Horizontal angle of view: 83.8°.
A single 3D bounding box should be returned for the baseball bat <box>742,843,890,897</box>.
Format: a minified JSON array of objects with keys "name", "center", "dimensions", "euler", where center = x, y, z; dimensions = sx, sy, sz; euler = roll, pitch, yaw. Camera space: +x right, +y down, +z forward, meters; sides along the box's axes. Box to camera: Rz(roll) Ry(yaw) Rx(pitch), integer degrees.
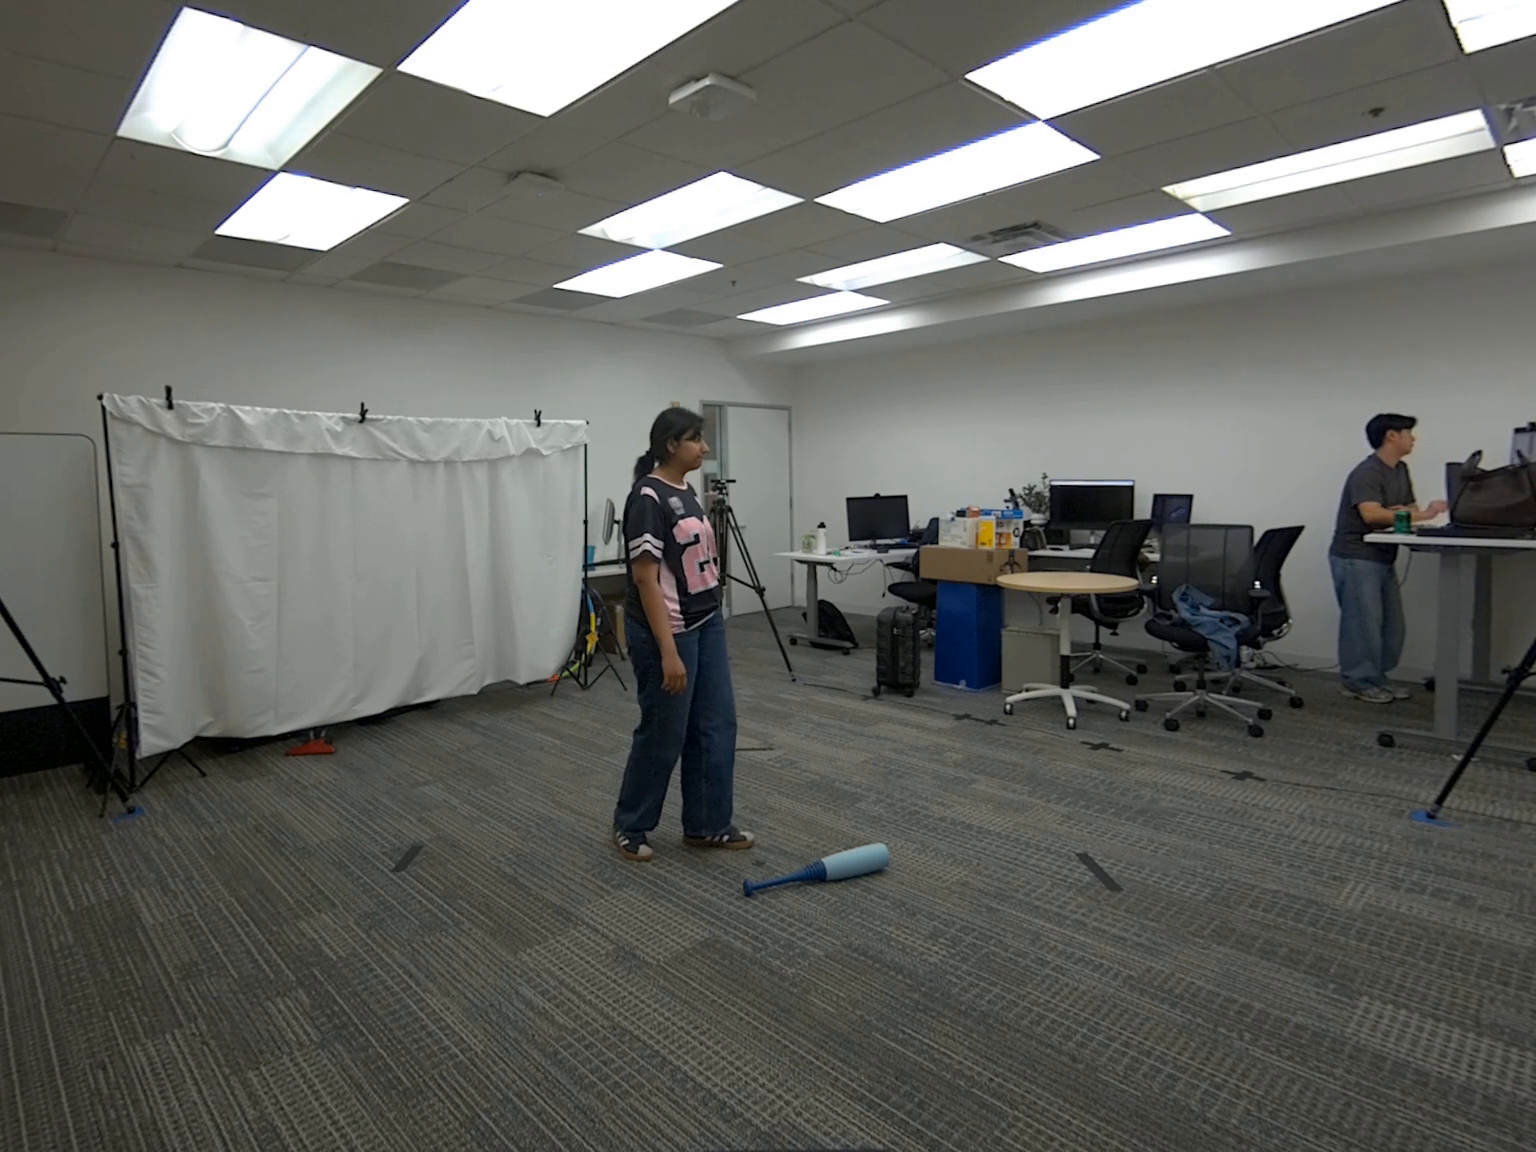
[{"name":"baseball bat","center":[0.169,1.026,2.963],"dimensions":[0.534,0.088,0.091],"euler":[-7,7,-19]}]
